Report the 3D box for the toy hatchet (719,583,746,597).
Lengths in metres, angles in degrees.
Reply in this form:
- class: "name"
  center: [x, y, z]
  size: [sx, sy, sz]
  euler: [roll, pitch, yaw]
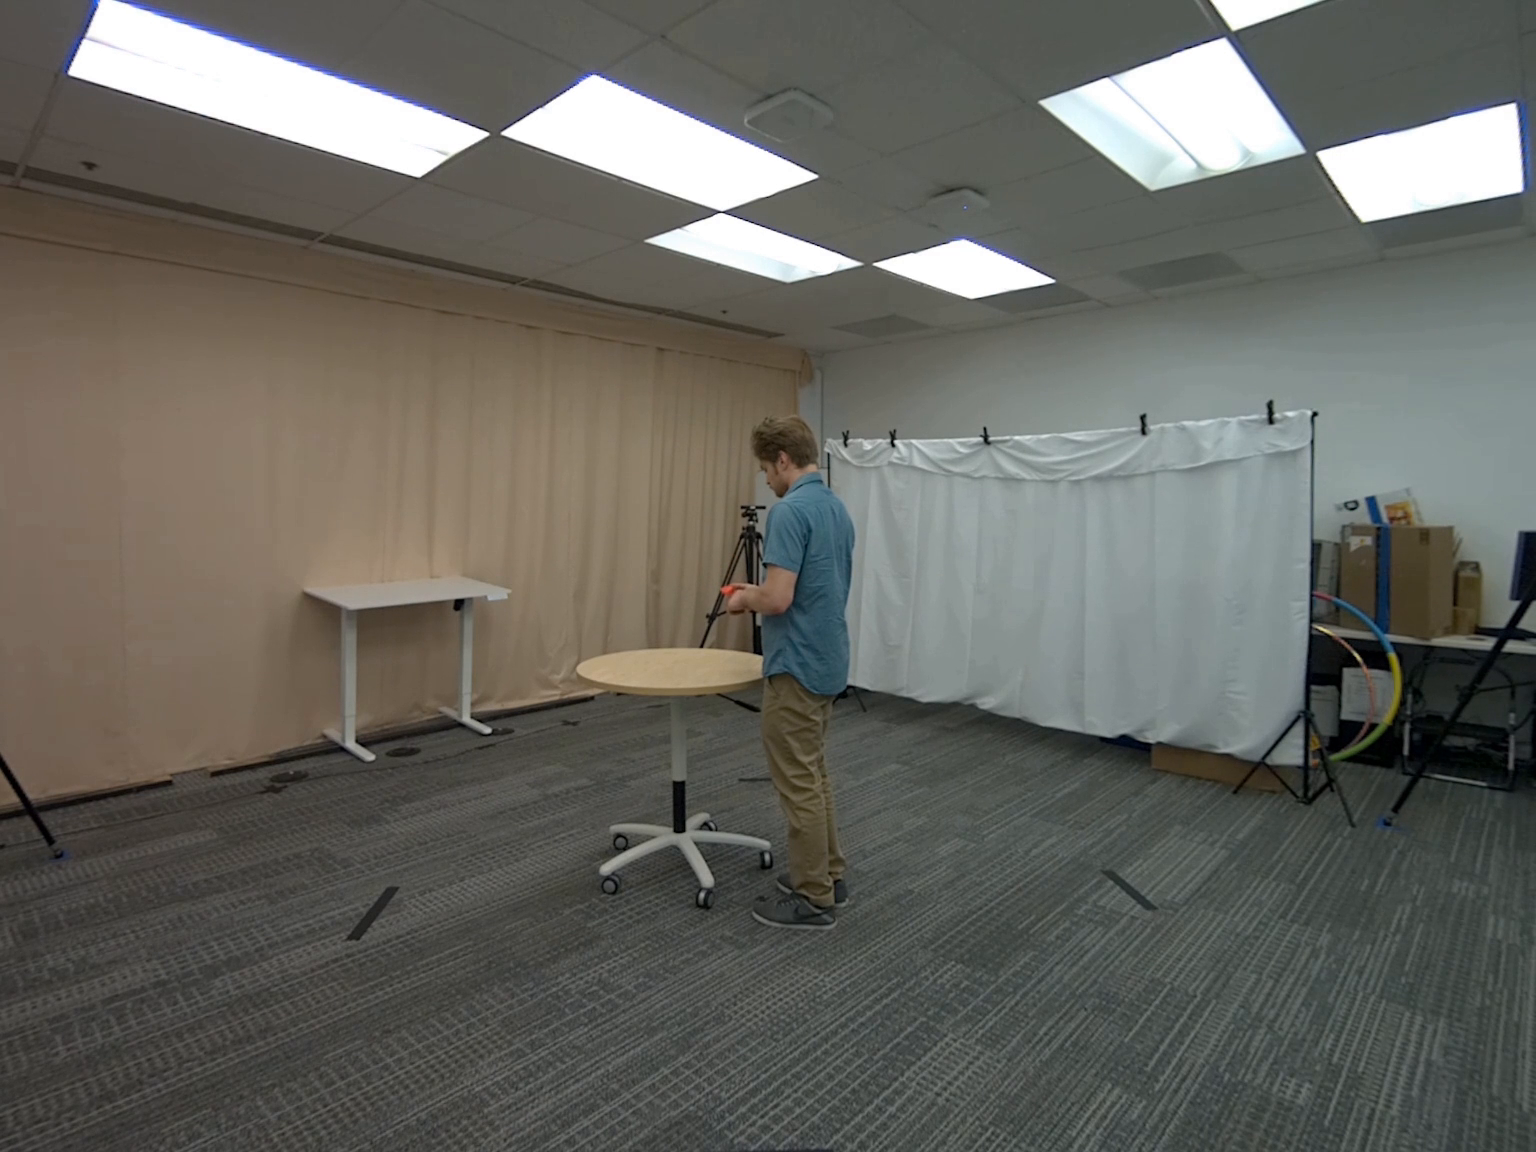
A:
- class: "toy hatchet"
  center: [-0.103, 0.068, 3.031]
  size: [0.132, 0.029, 0.269]
  euler: [2, 11, 9]
